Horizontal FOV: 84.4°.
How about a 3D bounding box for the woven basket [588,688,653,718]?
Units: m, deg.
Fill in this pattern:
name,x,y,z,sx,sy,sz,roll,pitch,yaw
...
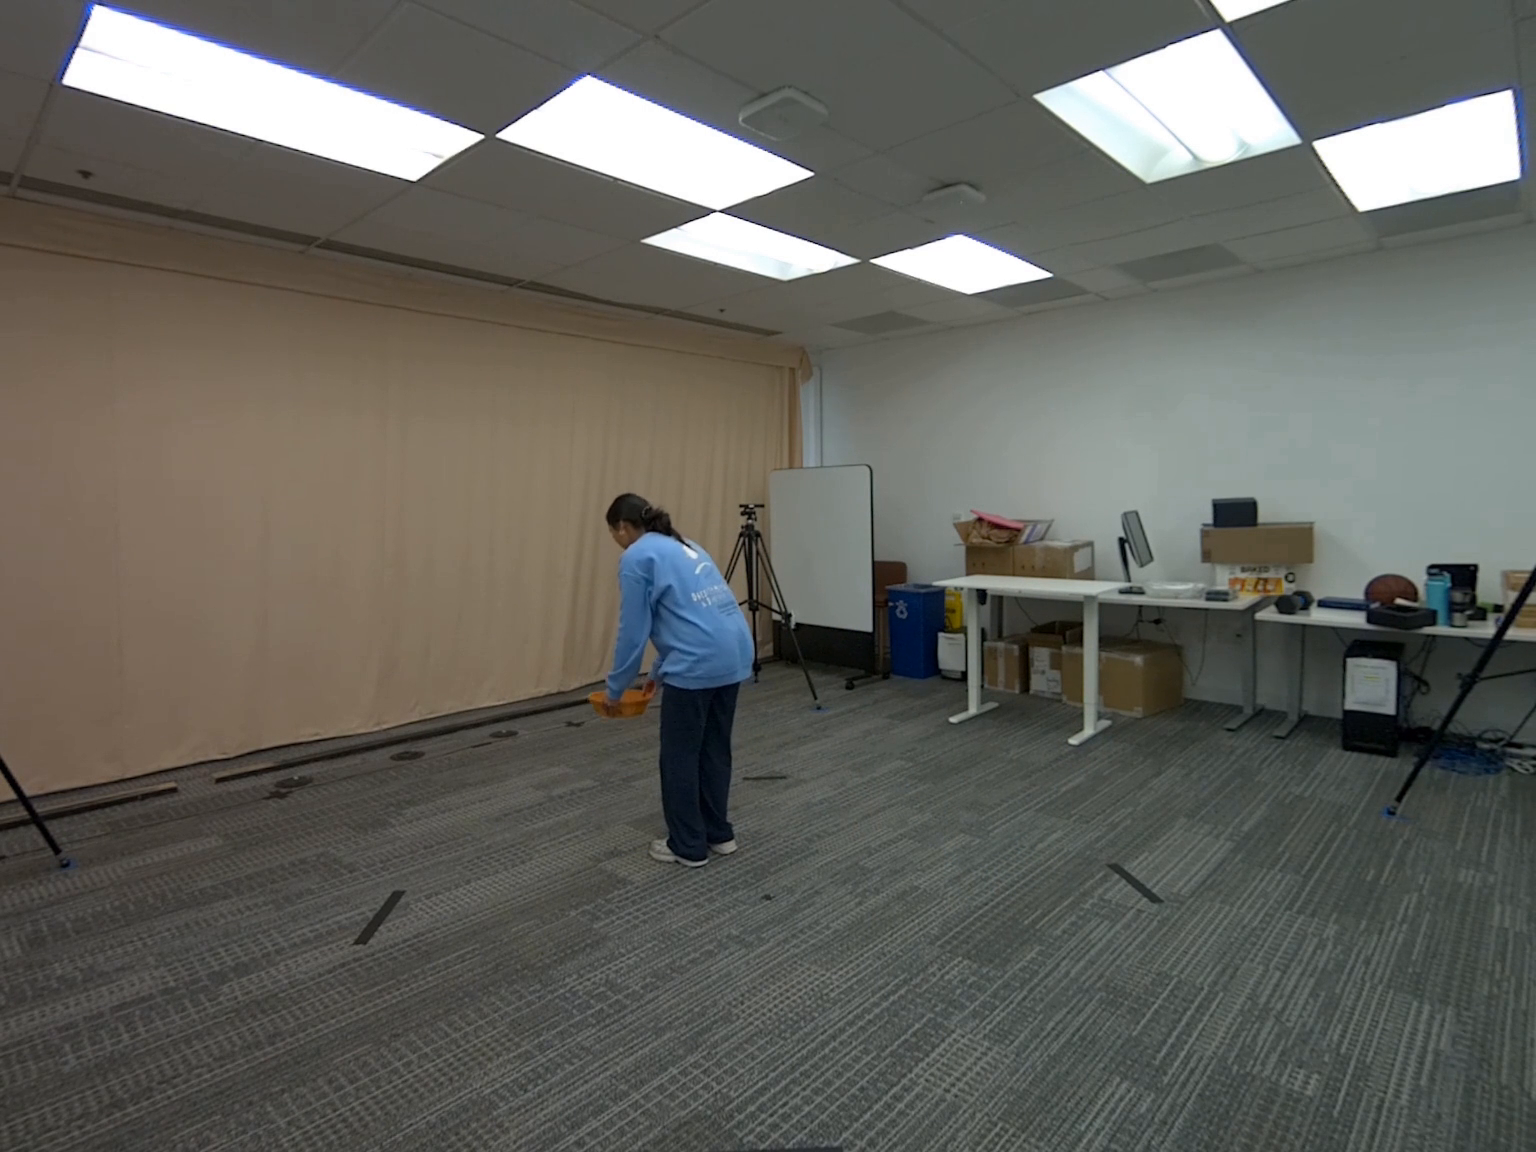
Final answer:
name,x,y,z,sx,sy,sz,roll,pitch,yaw
woven basket,-0.627,0.548,3.574,0.247,0.073,0.358,-3,1,-24
